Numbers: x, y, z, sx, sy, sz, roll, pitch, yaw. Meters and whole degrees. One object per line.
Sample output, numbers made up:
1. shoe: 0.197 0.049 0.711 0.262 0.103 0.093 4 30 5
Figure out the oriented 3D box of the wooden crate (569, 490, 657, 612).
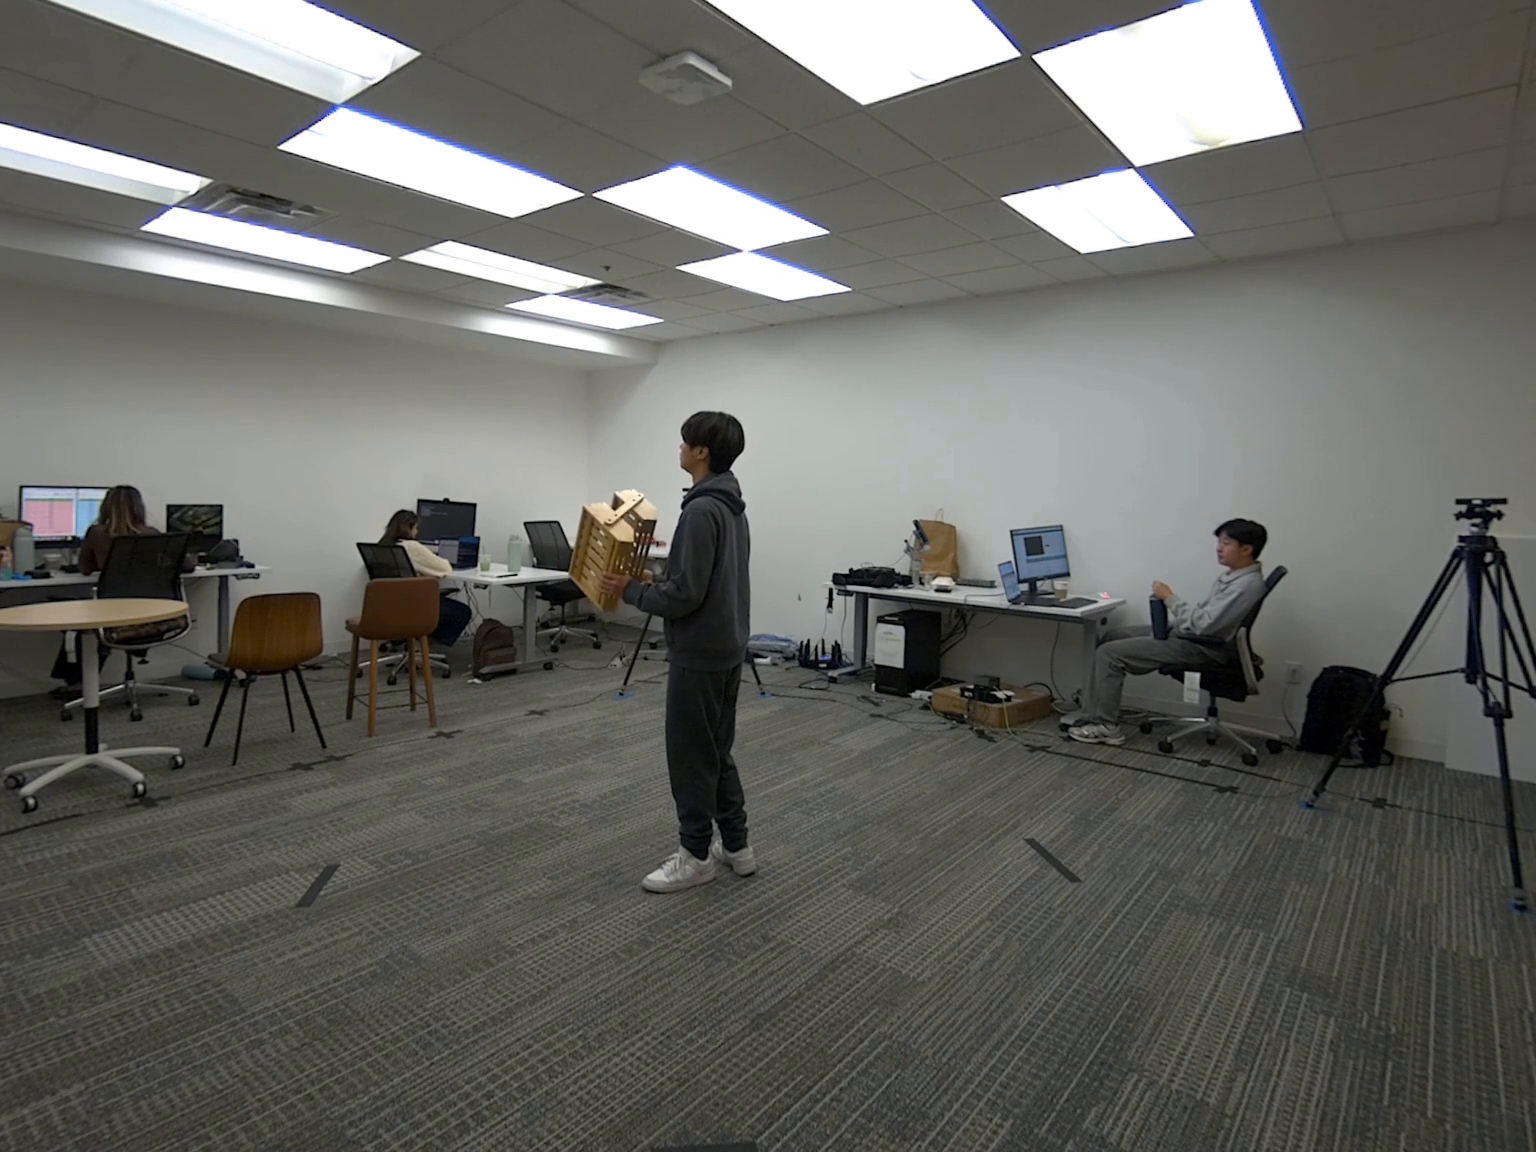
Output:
1. wooden crate: -0.545 -0.097 3.075 0.267 0.319 0.314 -14 43 -42
